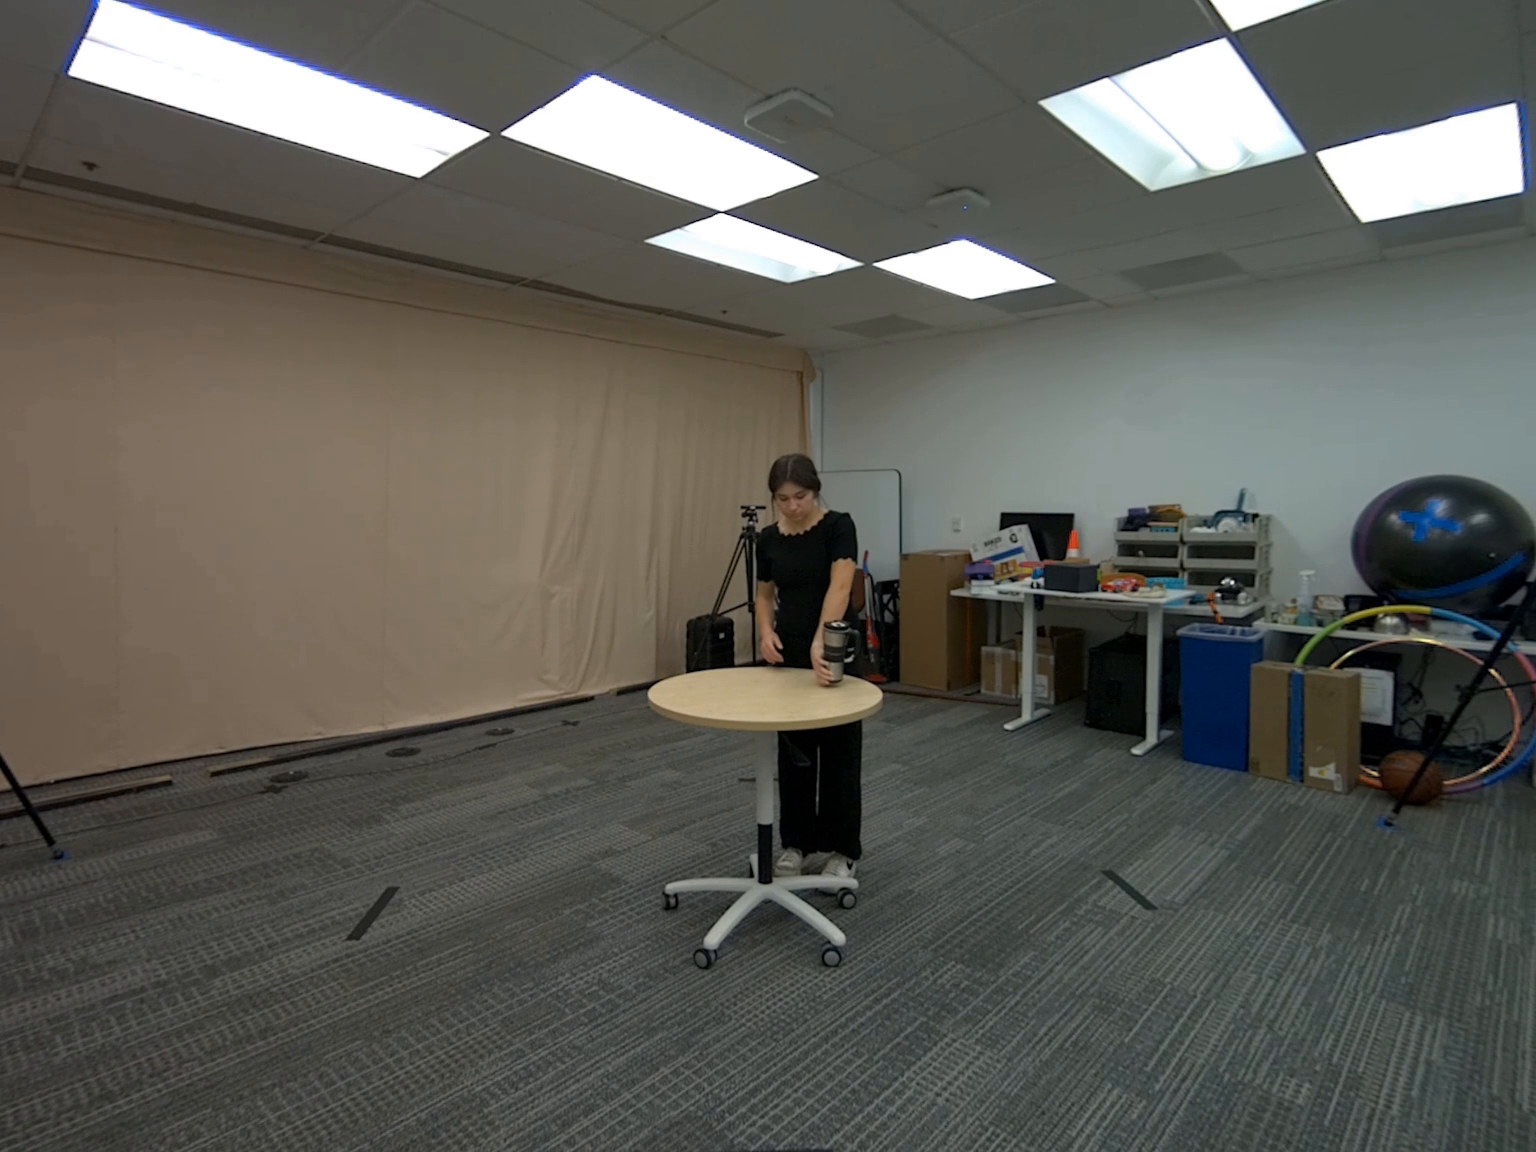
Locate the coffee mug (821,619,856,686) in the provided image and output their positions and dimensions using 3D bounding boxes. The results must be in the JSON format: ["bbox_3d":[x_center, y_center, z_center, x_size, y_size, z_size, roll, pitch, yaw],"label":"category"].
[{"bbox_3d":[0.232,0.256,2.794,0.126,0.202,0.085,9,11,36],"label":"coffee mug"}]
